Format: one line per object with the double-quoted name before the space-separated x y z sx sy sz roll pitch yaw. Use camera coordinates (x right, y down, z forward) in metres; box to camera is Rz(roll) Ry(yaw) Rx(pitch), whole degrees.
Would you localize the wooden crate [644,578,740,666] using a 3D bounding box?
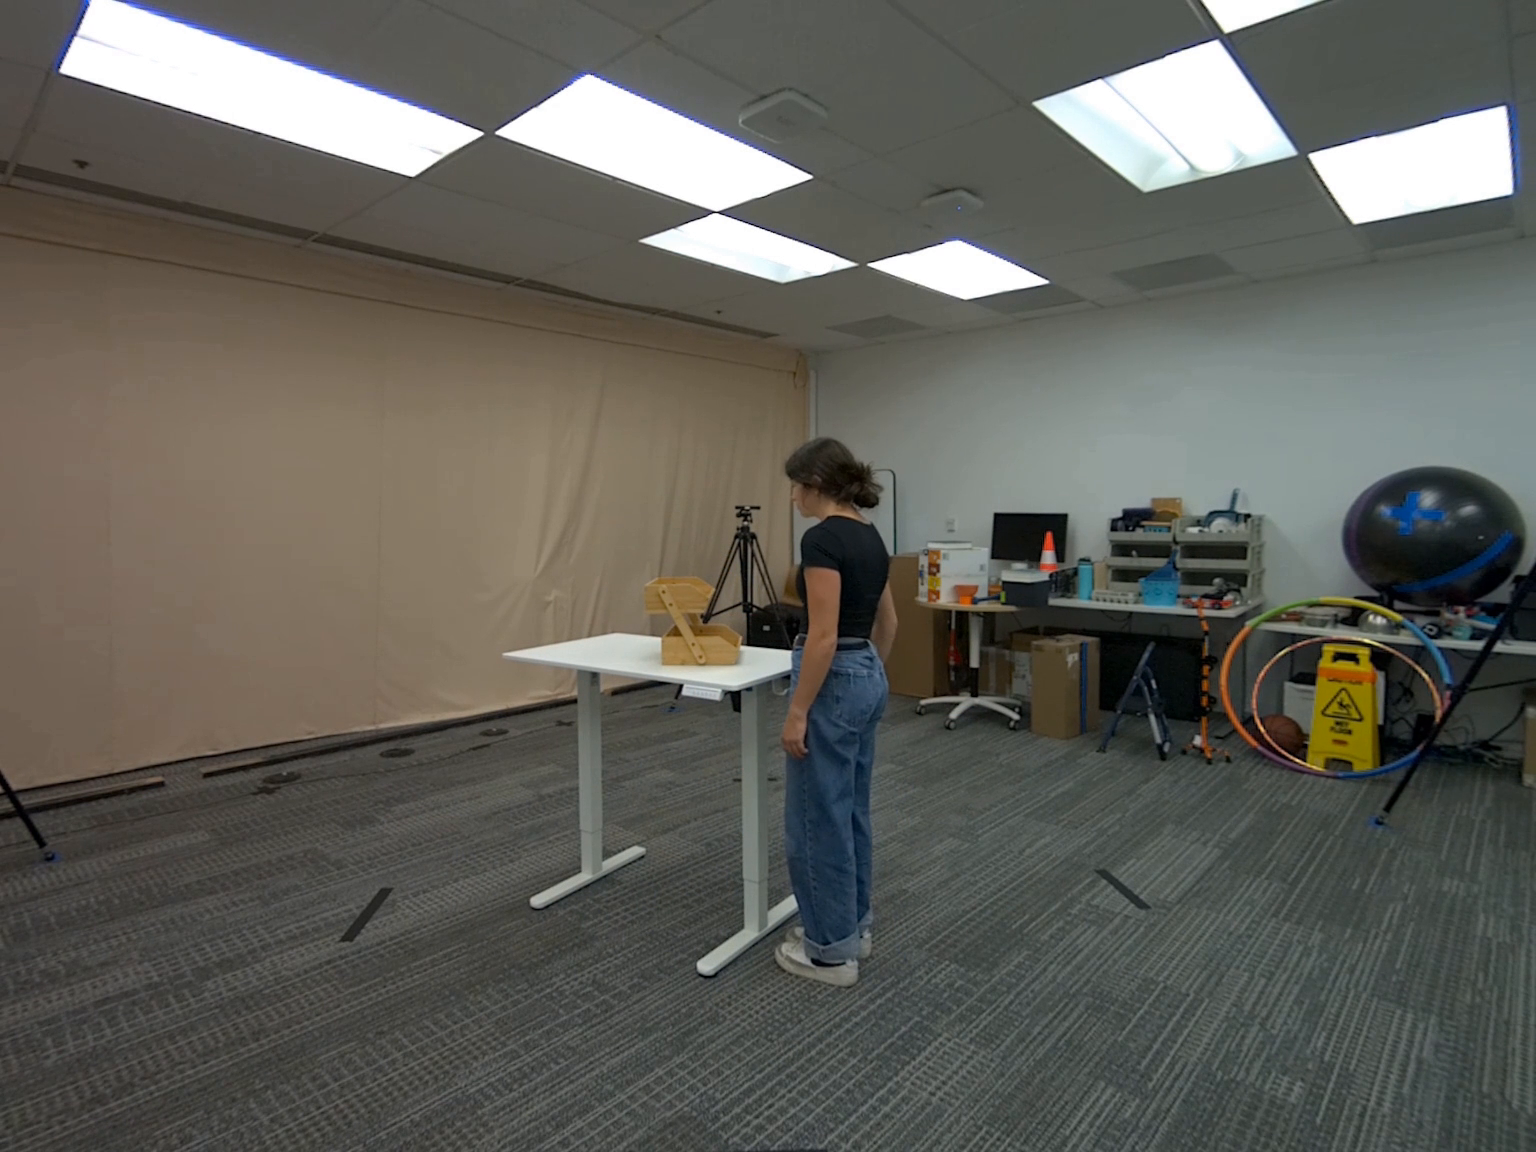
"wooden crate" -0.237 0.148 2.831 0.303 0.273 0.324 -1 3 1
